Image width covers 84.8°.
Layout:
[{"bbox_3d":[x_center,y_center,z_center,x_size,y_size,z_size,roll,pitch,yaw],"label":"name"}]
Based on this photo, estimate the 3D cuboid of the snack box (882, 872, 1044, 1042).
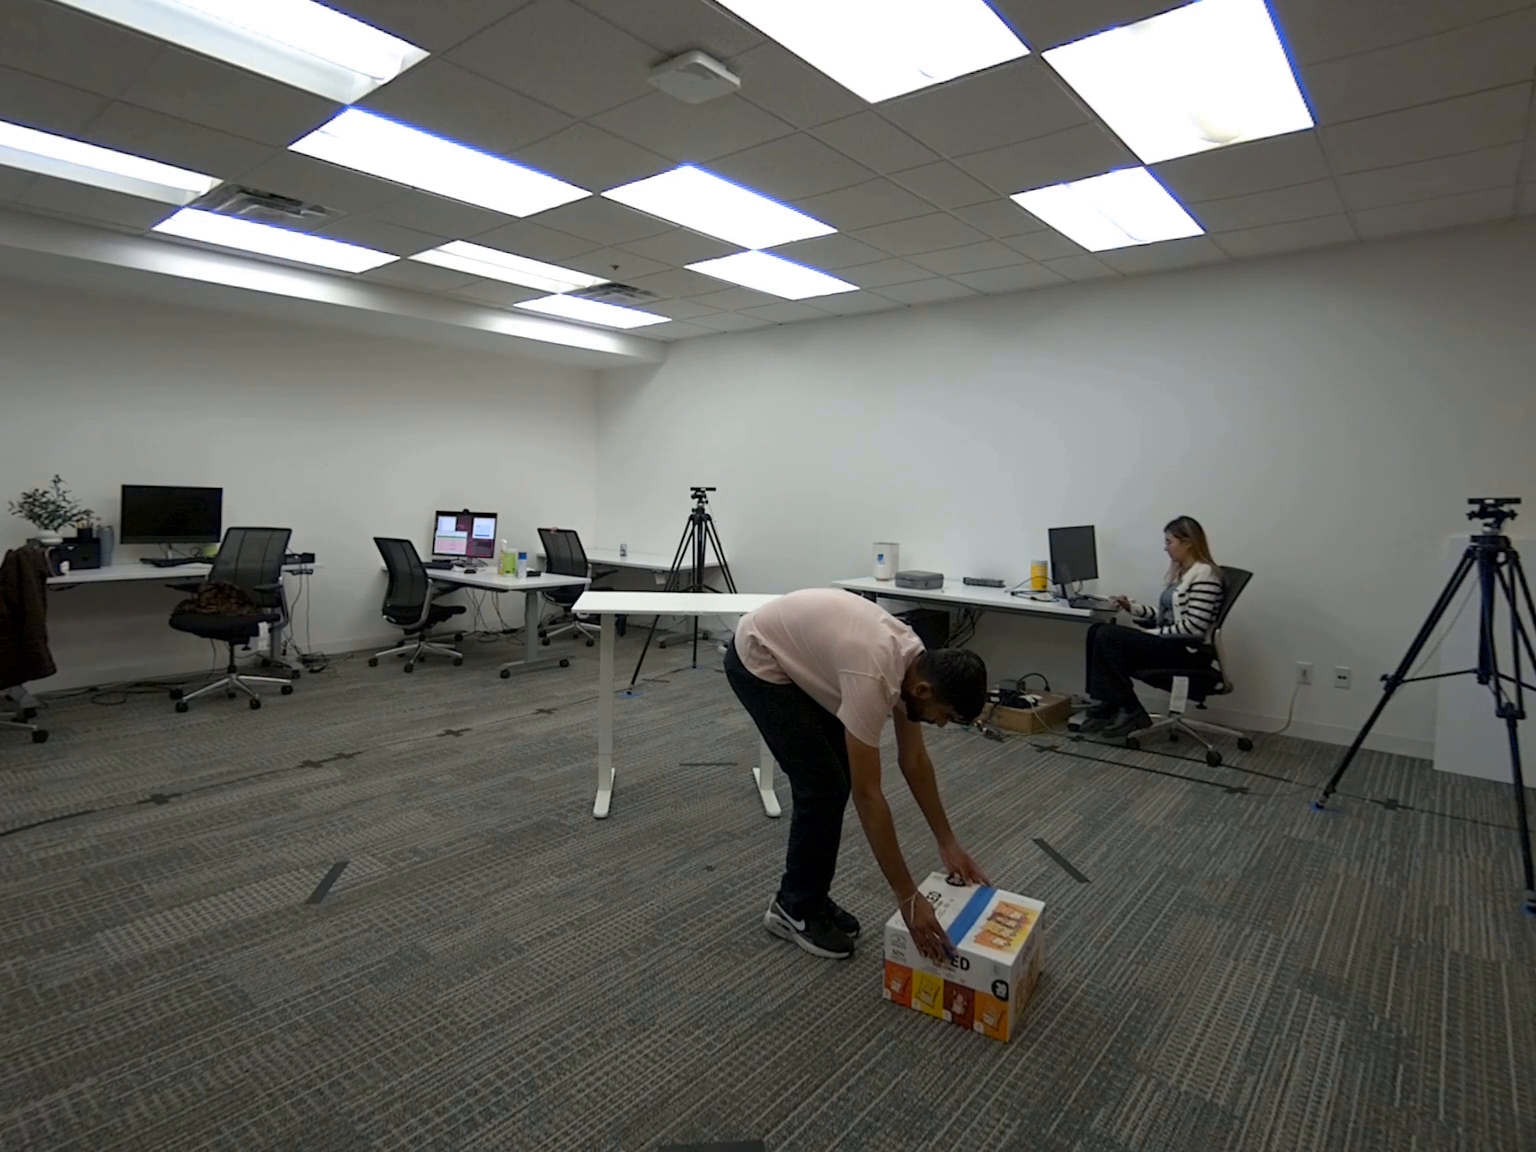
[{"bbox_3d":[0.560,1.048,2.405,0.351,0.205,0.394,4,6,31],"label":"snack box"}]
